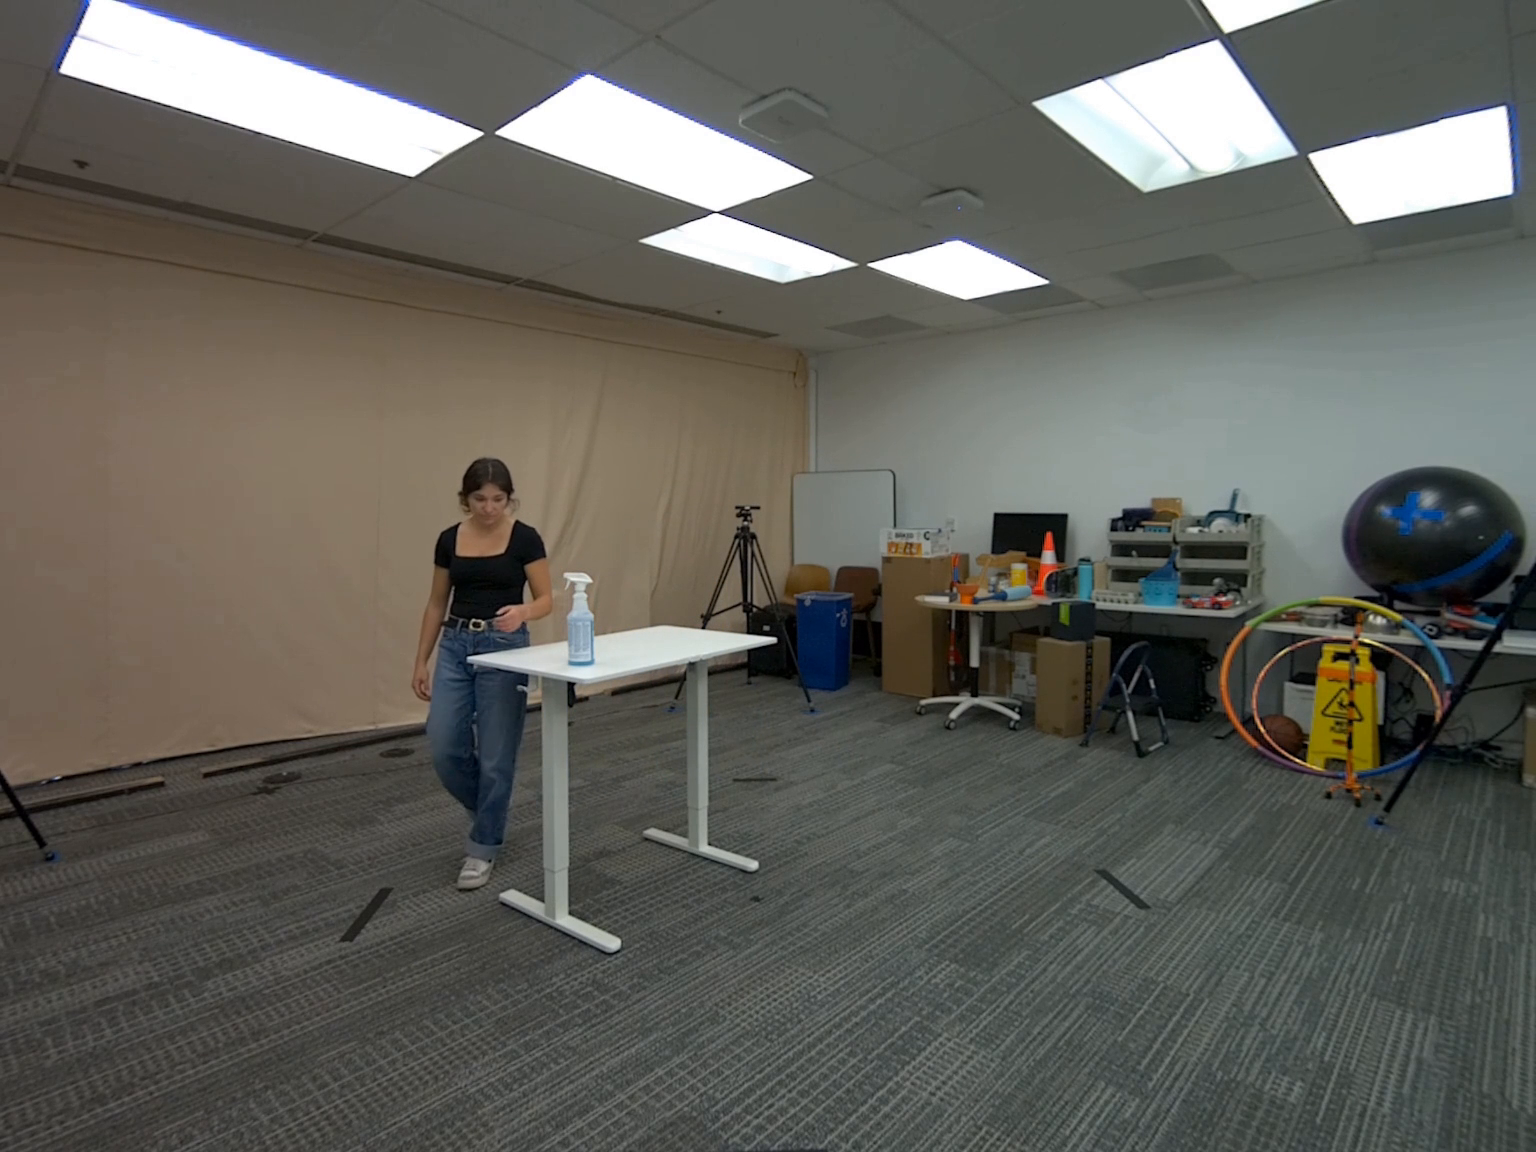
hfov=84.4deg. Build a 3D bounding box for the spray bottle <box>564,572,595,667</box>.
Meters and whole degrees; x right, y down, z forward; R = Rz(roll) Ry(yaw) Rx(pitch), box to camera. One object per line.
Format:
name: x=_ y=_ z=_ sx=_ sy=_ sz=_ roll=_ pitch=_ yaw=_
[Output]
spray bottle: x=-0.609 y=0.145 z=2.719 sx=0.092 sy=0.296 sz=0.085 roll=0 pitch=5 yaw=20
